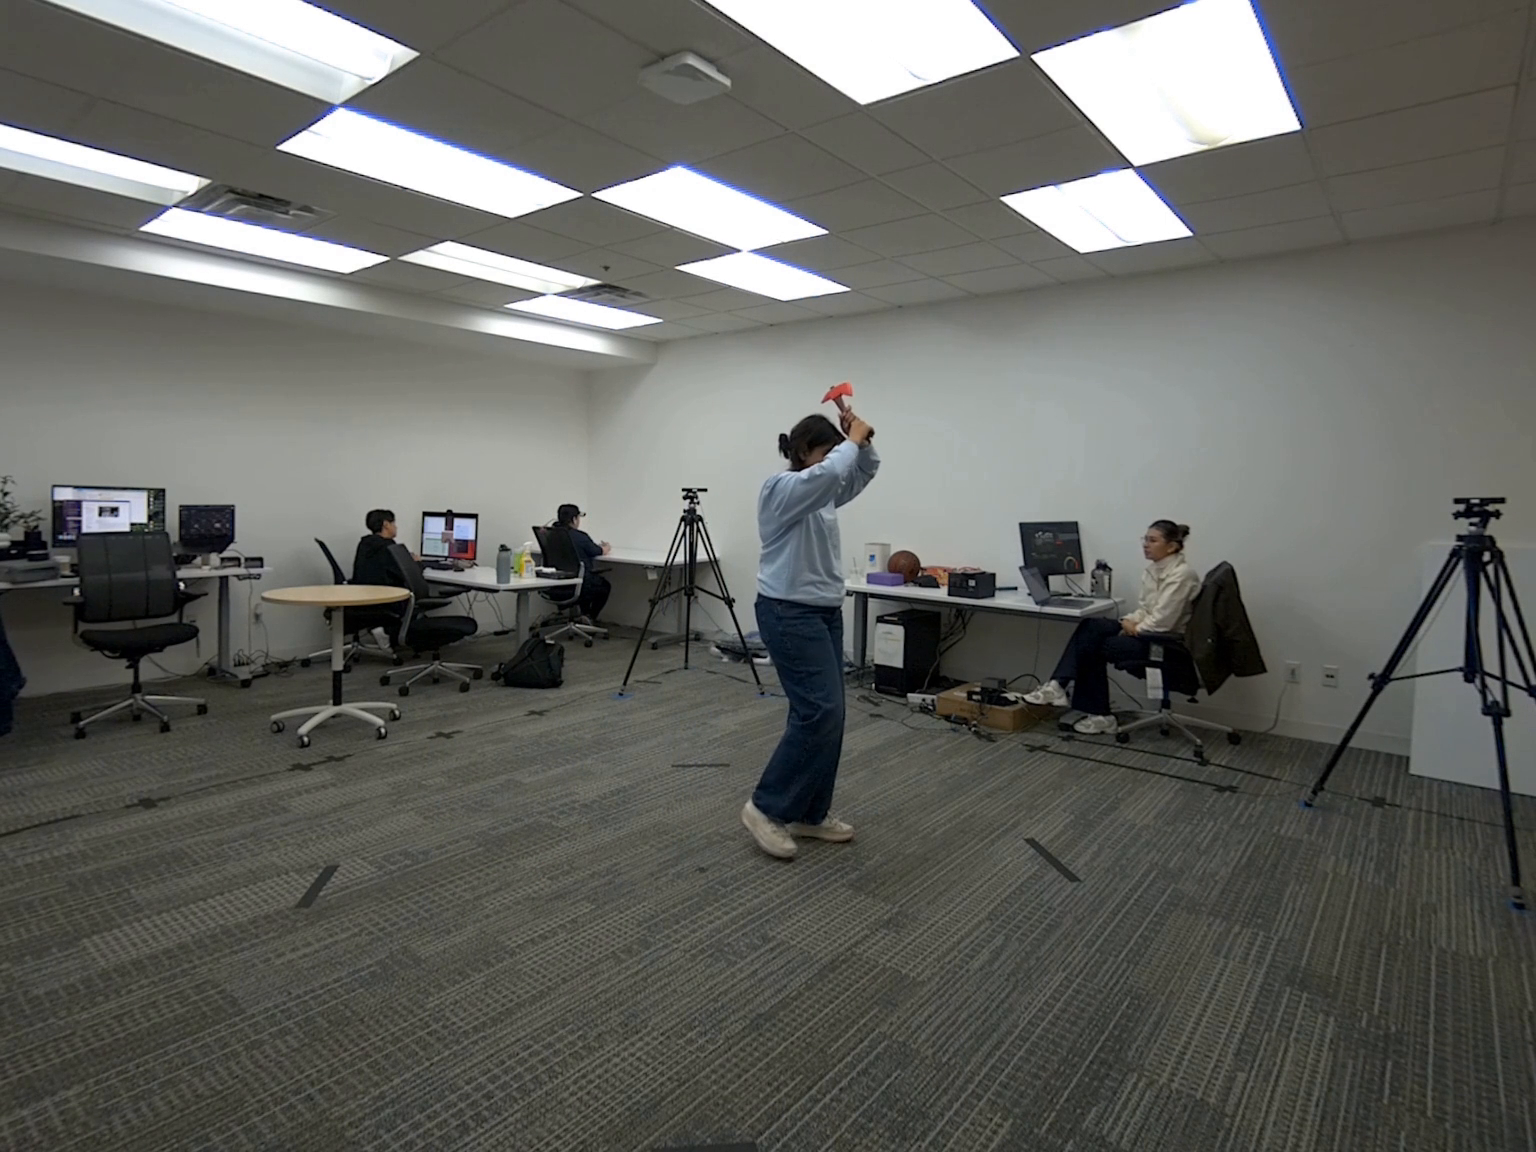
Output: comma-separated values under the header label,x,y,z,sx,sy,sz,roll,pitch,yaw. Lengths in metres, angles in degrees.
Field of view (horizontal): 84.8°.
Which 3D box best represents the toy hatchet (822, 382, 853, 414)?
label,x,y,z,sx,sy,sz,roll,pitch,yaw
toy hatchet,0.319,-0.654,3.264,0.280,0.131,0.028,45,12,28
